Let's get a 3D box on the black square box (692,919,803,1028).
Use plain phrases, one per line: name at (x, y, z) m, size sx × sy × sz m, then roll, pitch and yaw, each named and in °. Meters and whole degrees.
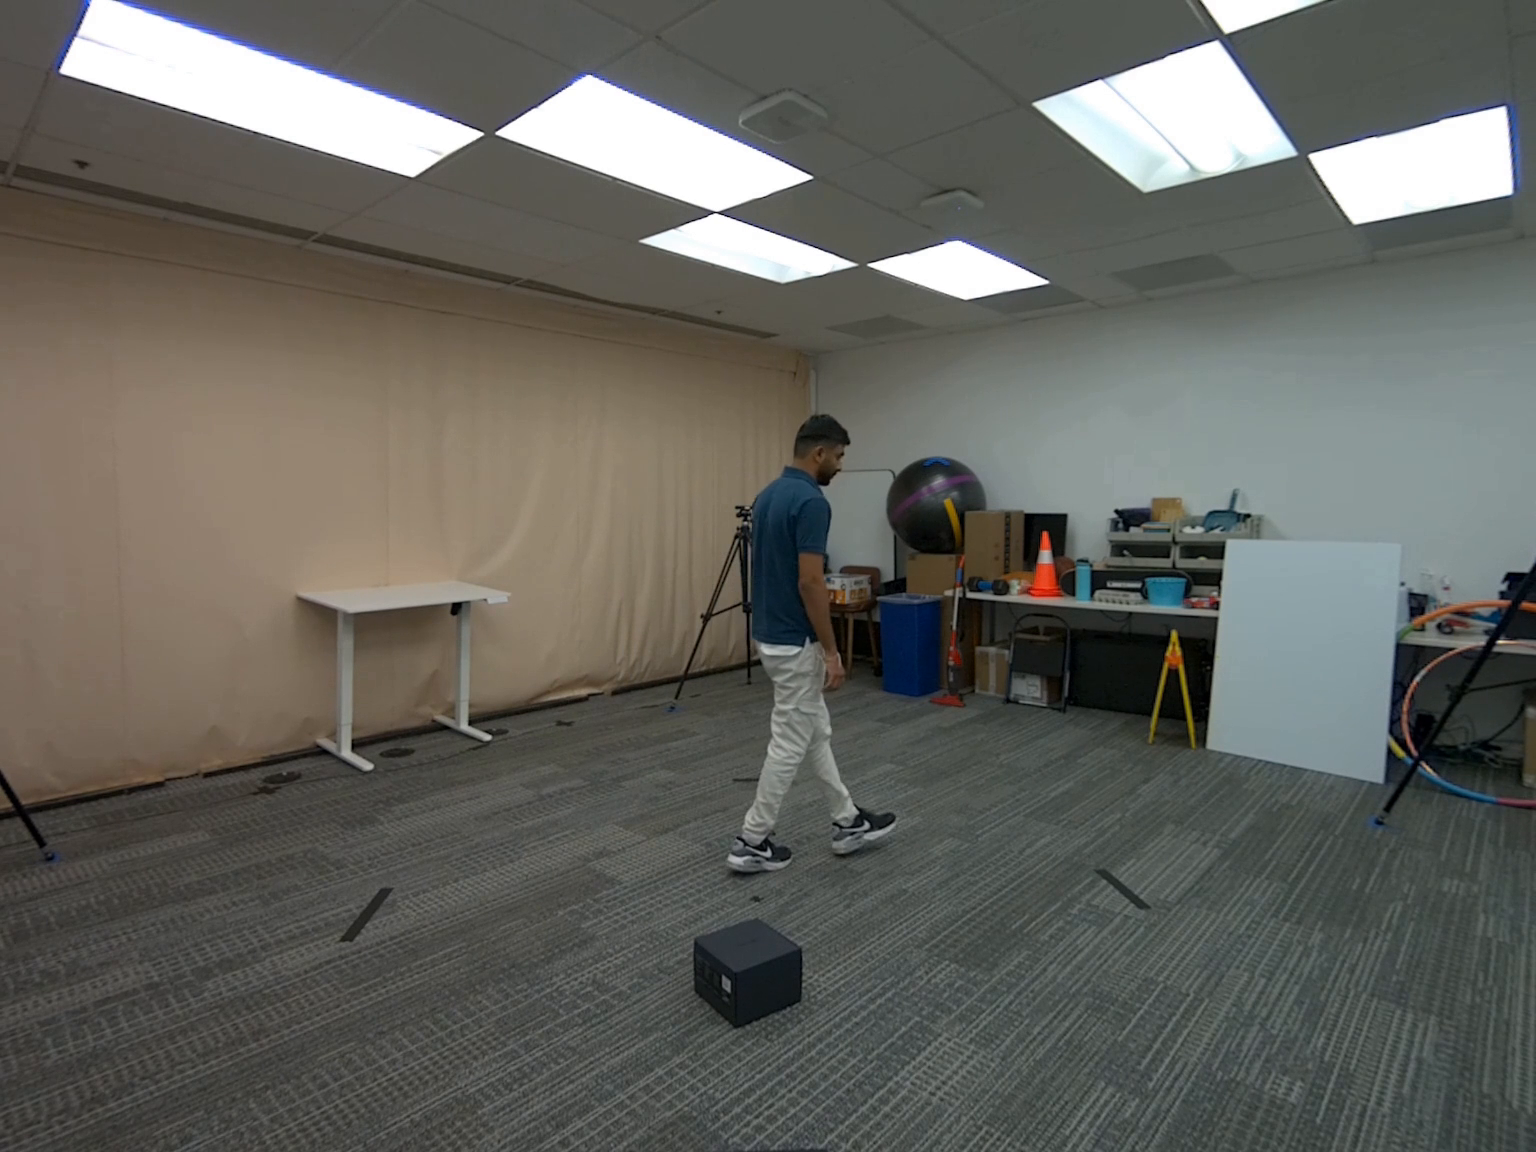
black square box at (-0.056, 1.111, 2.381) m, size 0.221 × 0.155 × 0.224 m, roll -3°, pitch 4°, yaw -36°
